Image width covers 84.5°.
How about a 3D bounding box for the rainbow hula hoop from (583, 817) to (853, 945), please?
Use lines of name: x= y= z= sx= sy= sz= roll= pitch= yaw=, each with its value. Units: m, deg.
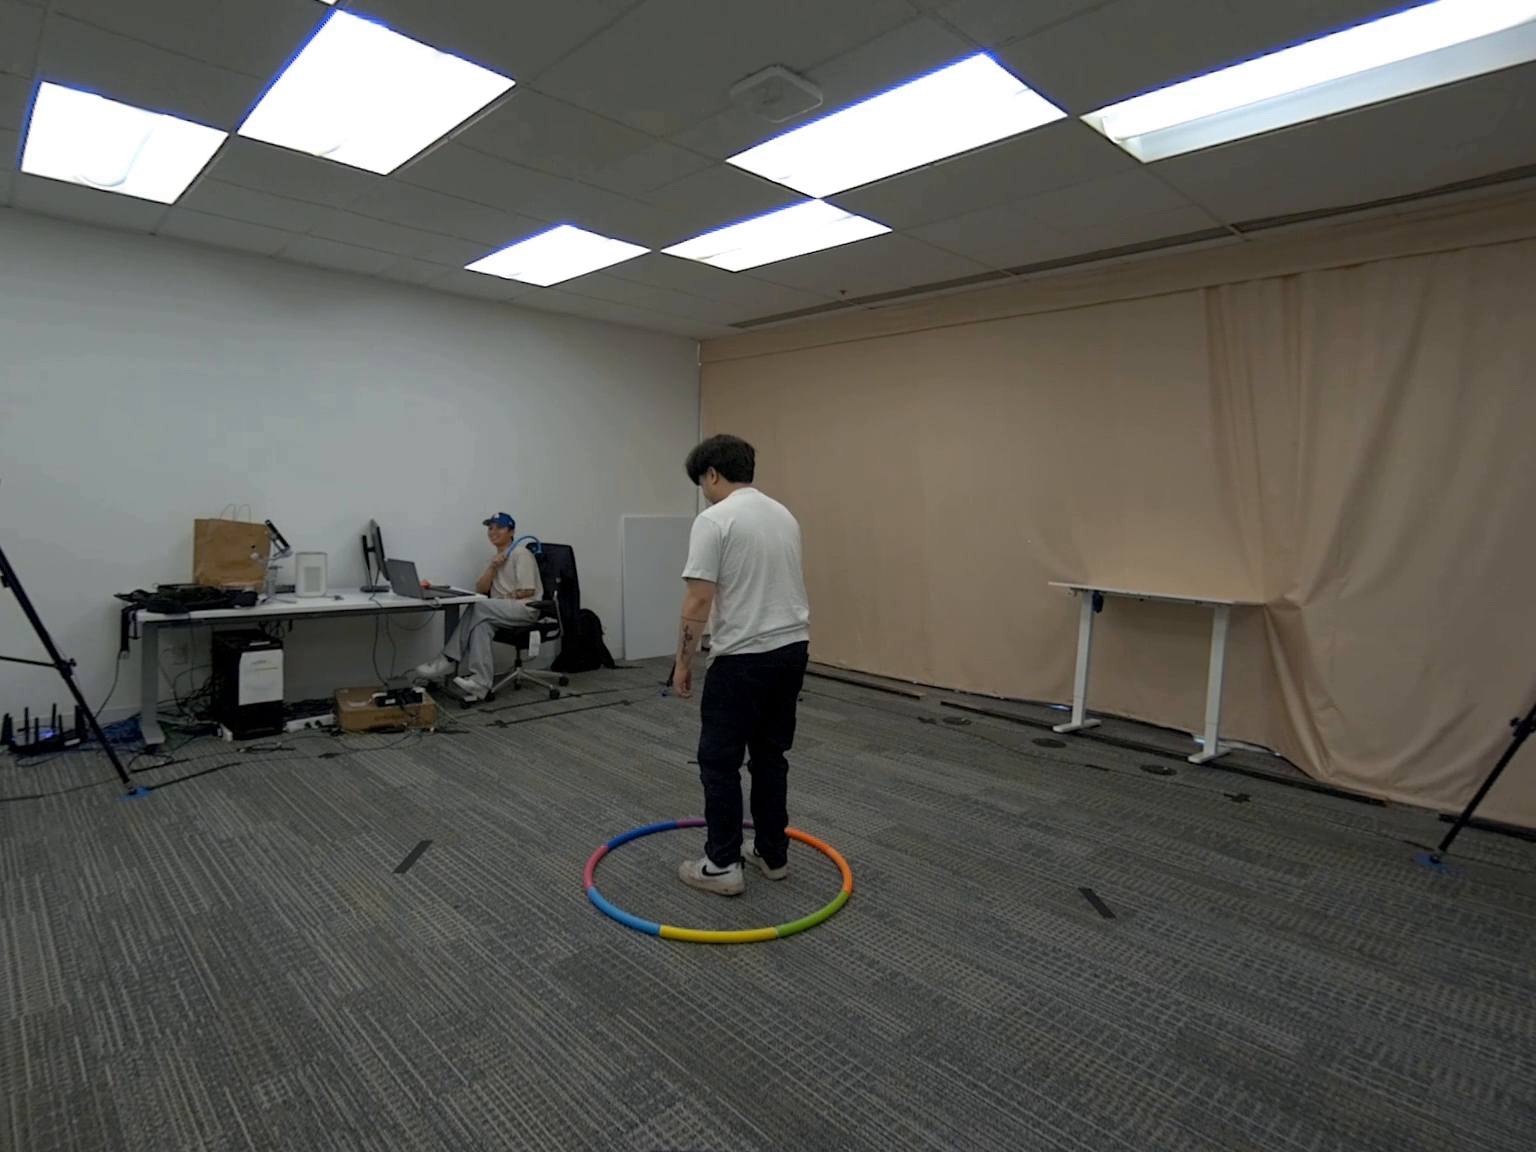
rainbow hula hoop: x=-0.191 y=1.083 z=3.109 sx=0.985 sy=0.051 sz=0.989 roll=1 pitch=5 yaw=-1
